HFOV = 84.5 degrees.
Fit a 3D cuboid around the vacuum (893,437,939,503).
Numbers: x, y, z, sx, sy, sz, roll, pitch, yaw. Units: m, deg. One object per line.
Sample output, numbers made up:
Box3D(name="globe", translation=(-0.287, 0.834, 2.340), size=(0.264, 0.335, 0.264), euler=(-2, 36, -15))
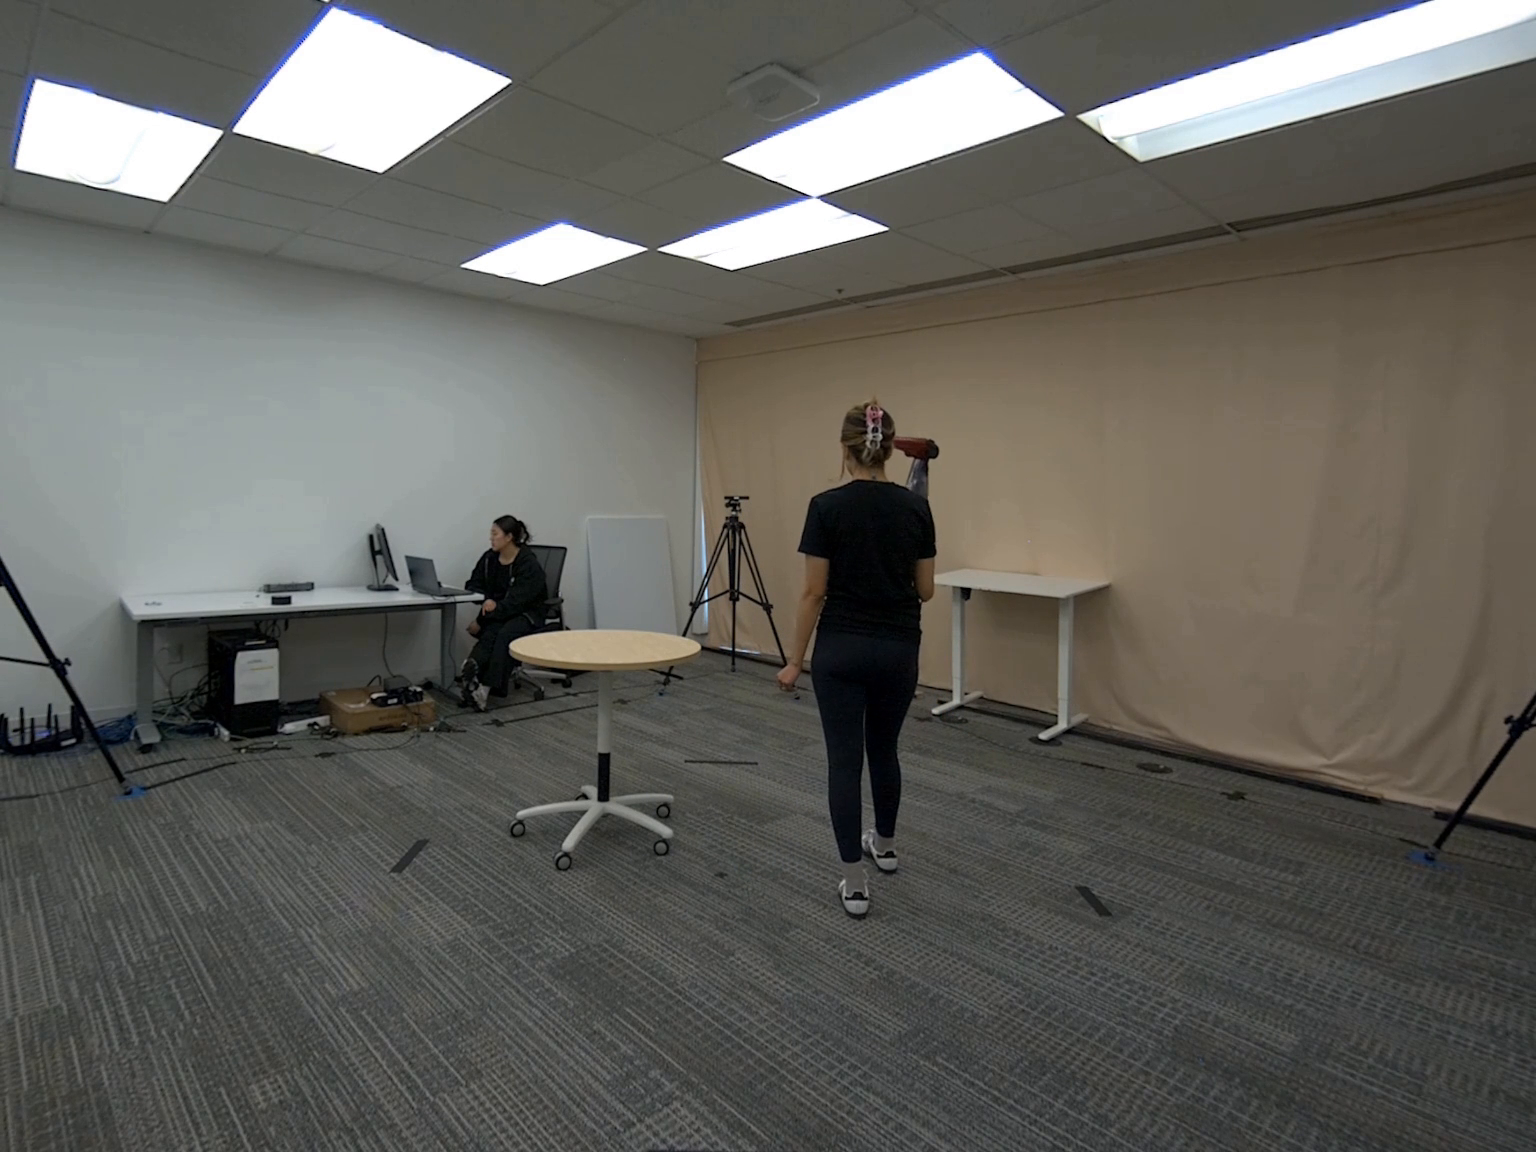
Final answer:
Box3D(name="vacuum", translation=(0.548, 0.009, 3.238), size=(0.141, 1.042, 0.259), euler=(-6, 12, -34))
